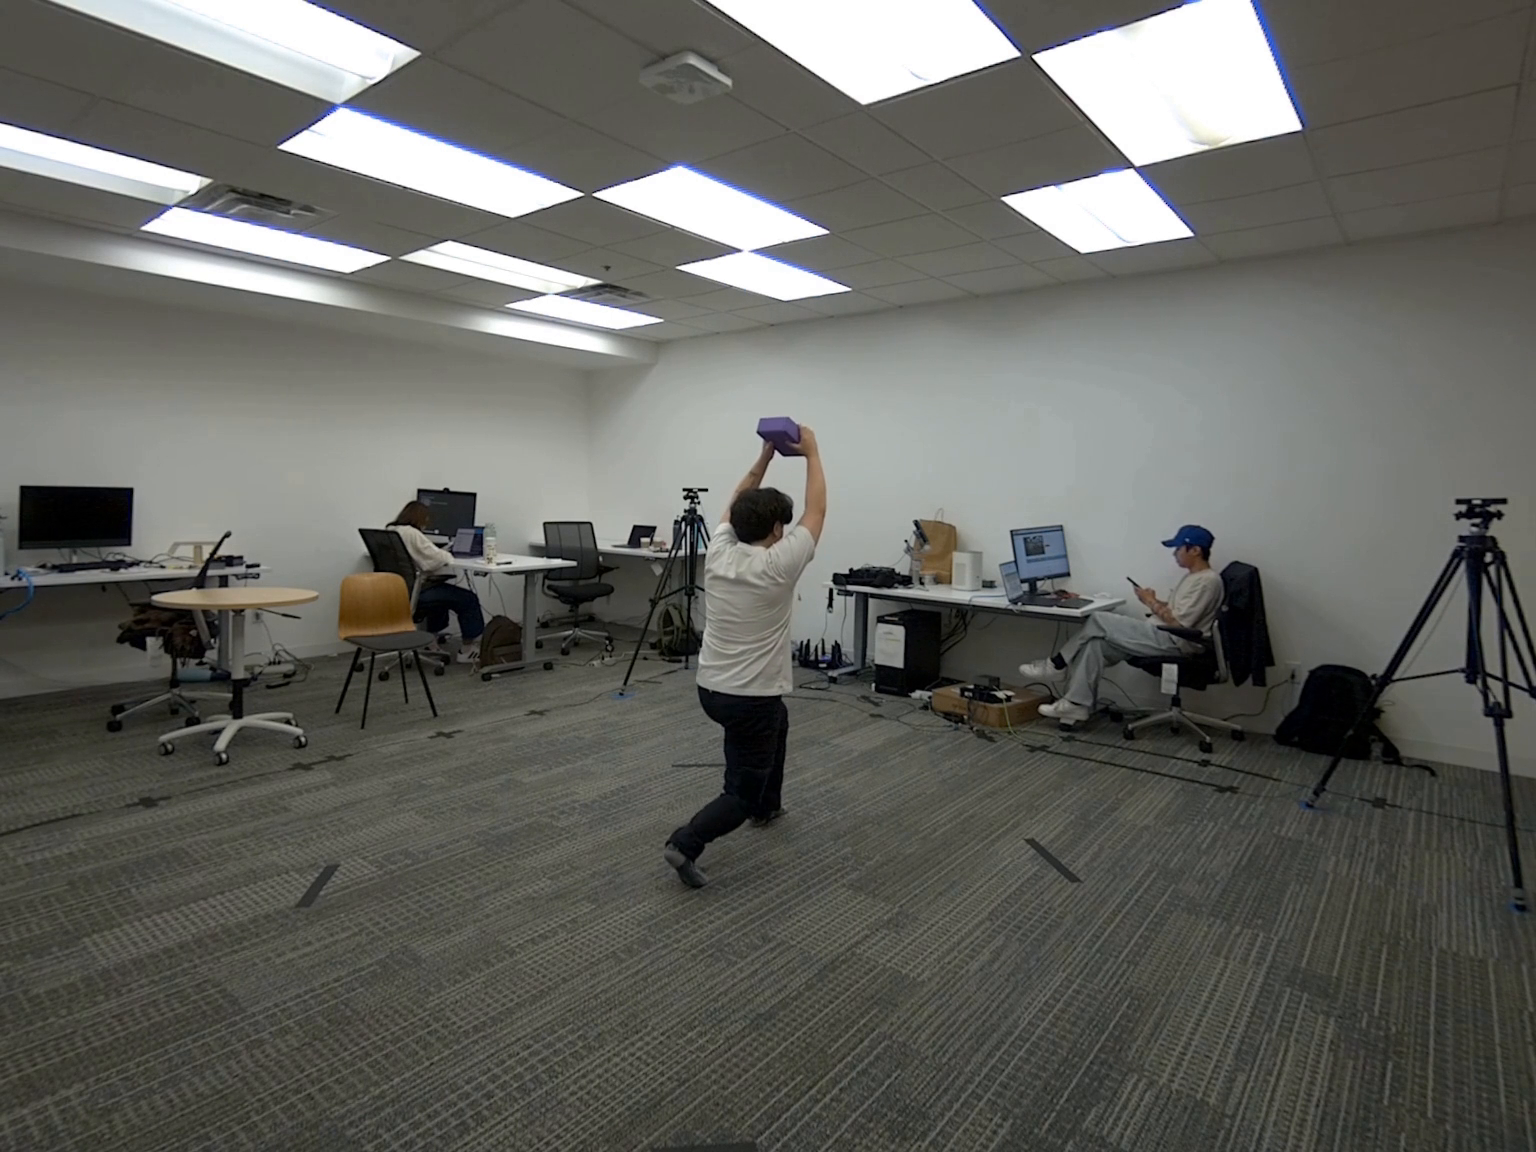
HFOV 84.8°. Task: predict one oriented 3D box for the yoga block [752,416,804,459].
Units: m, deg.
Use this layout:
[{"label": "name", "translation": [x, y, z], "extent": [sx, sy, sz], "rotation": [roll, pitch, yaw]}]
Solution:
[{"label": "yoga block", "translation": [0.065, -0.580, 3.523], "extent": [0.154, 0.077, 0.220], "rotation": [4, -17, 37]}]
